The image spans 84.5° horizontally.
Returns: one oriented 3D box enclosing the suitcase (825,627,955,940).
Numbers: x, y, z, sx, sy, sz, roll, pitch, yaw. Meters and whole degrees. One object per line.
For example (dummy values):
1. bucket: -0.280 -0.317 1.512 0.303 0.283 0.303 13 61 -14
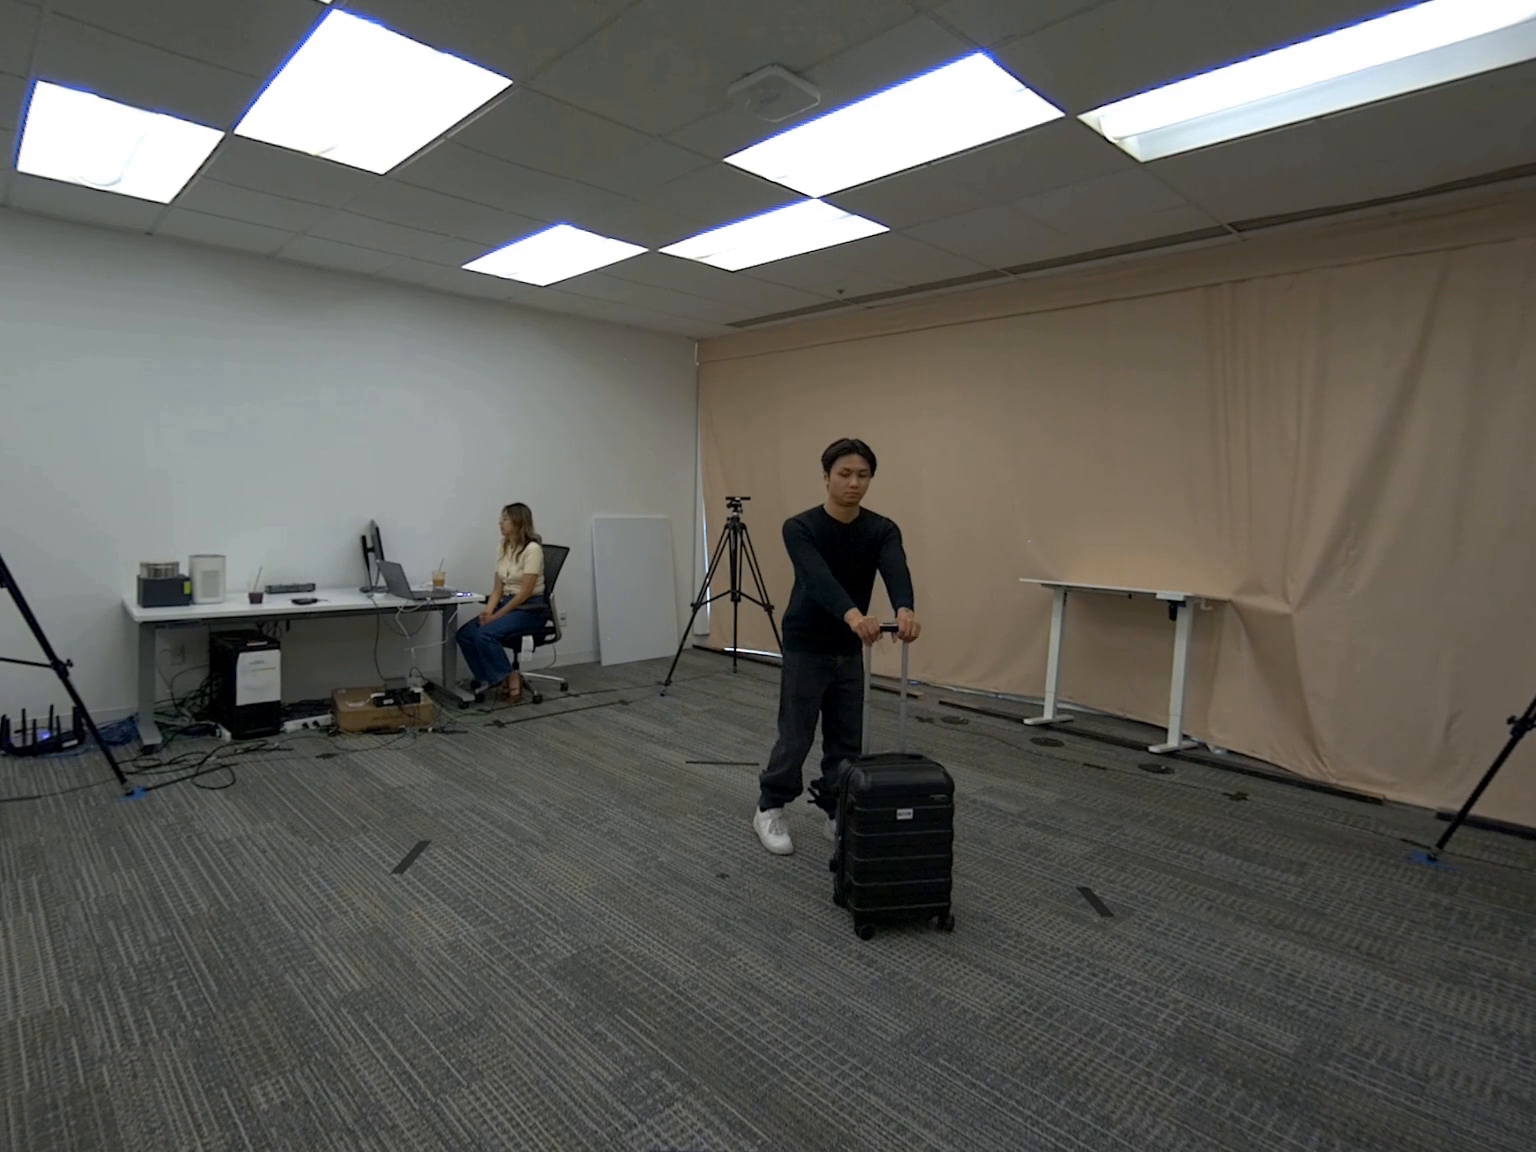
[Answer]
1. suitcase: 0.416 0.675 2.767 0.381 0.973 0.260 1 8 -9
